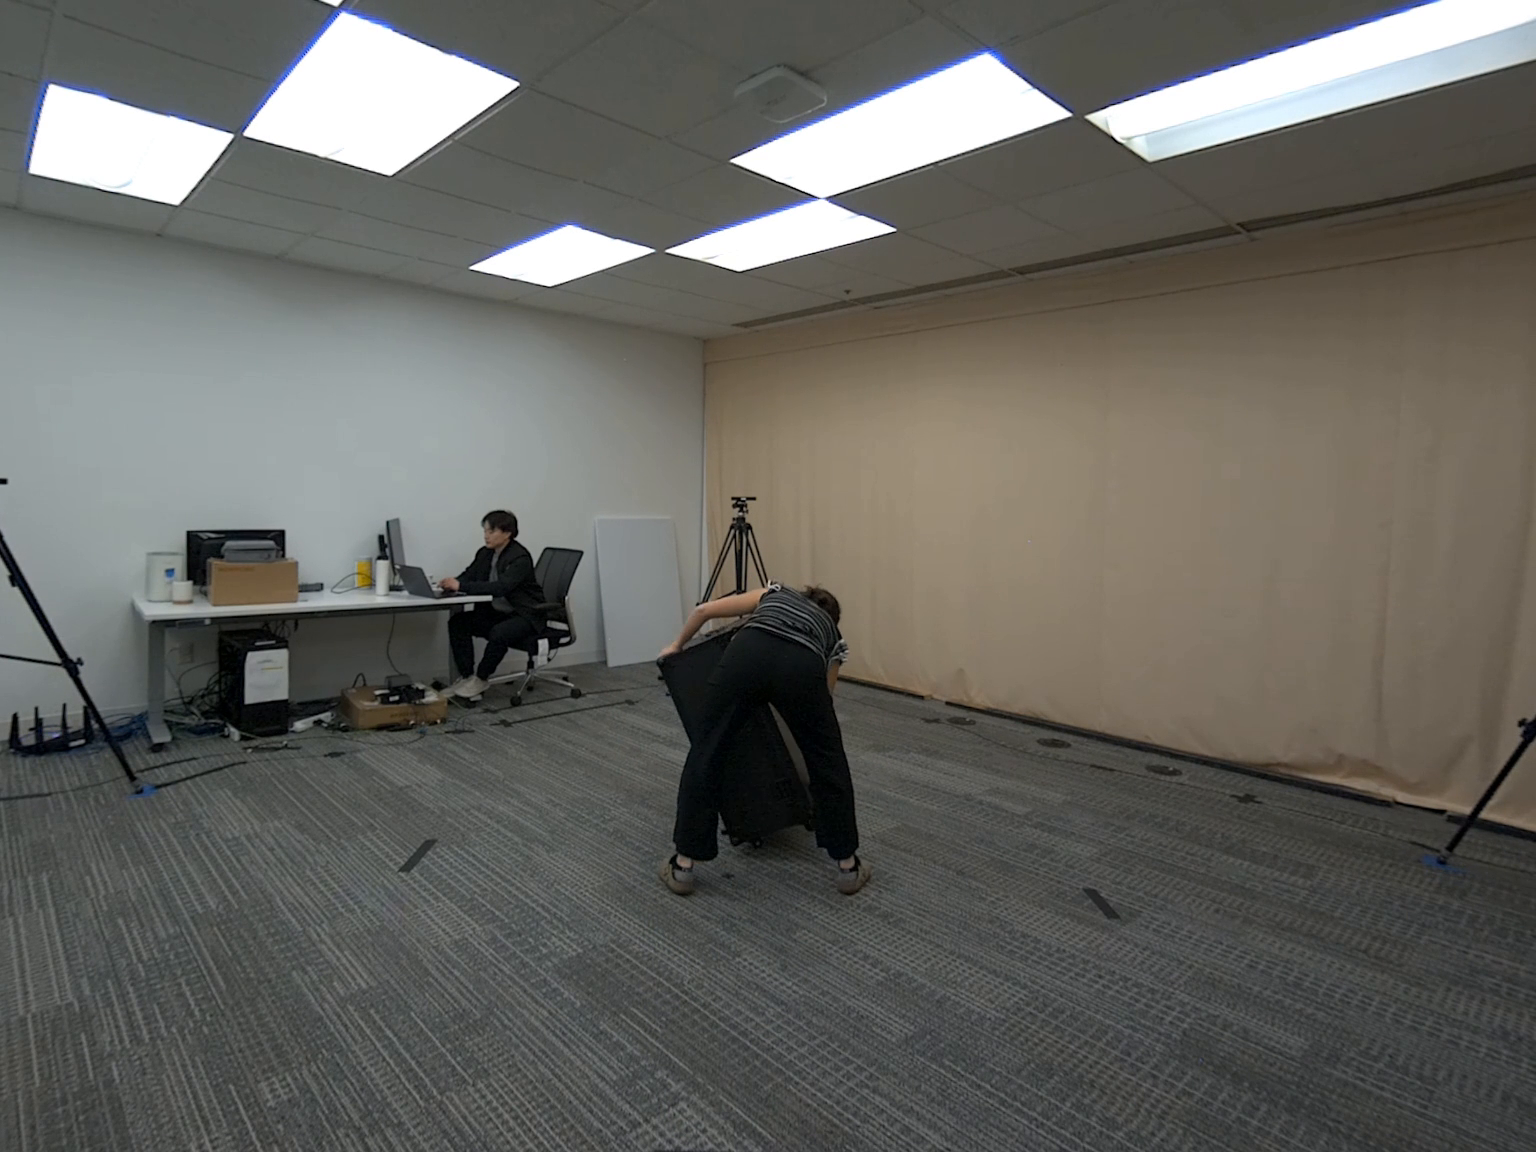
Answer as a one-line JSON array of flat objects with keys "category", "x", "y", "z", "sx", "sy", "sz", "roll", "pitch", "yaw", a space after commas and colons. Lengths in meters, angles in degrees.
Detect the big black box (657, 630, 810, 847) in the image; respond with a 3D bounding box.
[{"category": "big black box", "x": -0.094, "y": 0.641, "z": 3.476, "sx": 0.398, "sy": 0.862, "sz": 0.518, "roll": -22, "pitch": -1, "yaw": 10}]
